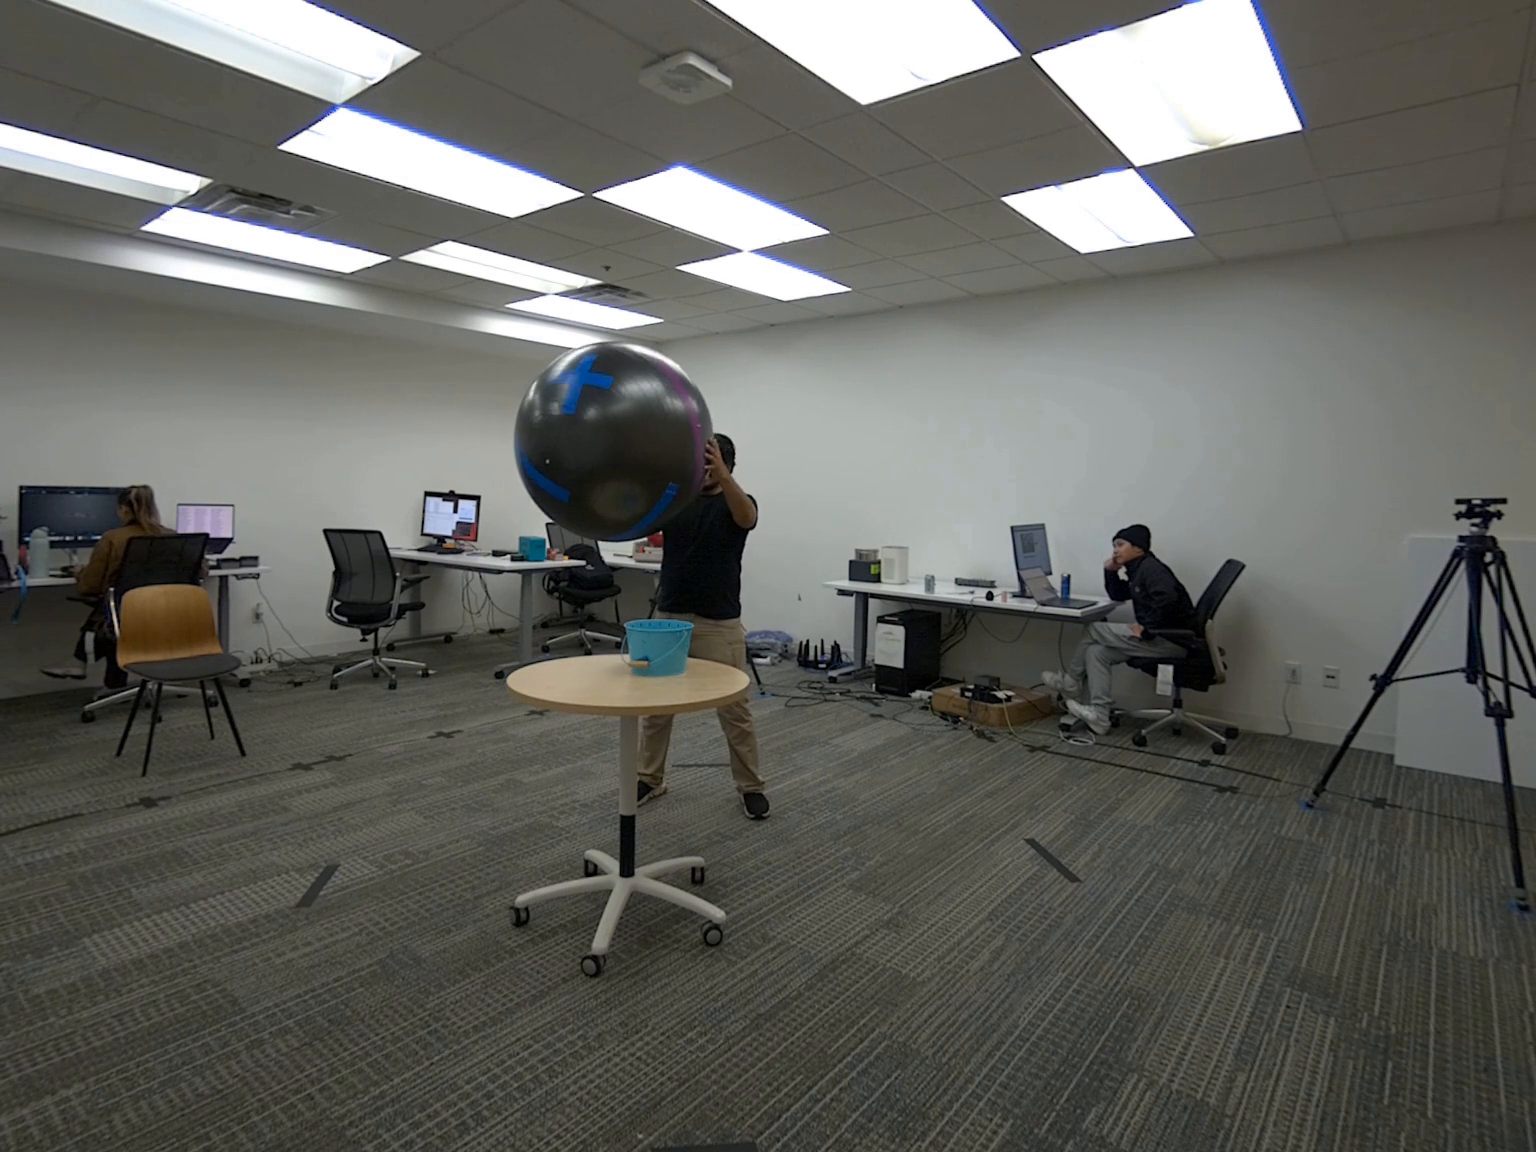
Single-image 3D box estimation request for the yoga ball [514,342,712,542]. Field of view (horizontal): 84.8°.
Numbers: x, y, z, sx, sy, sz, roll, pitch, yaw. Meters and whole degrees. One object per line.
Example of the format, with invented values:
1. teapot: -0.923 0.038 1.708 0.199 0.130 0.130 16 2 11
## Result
1. yoga ball: -0.595 -0.503 3.247 0.757 0.755 0.762 1 4 -2
